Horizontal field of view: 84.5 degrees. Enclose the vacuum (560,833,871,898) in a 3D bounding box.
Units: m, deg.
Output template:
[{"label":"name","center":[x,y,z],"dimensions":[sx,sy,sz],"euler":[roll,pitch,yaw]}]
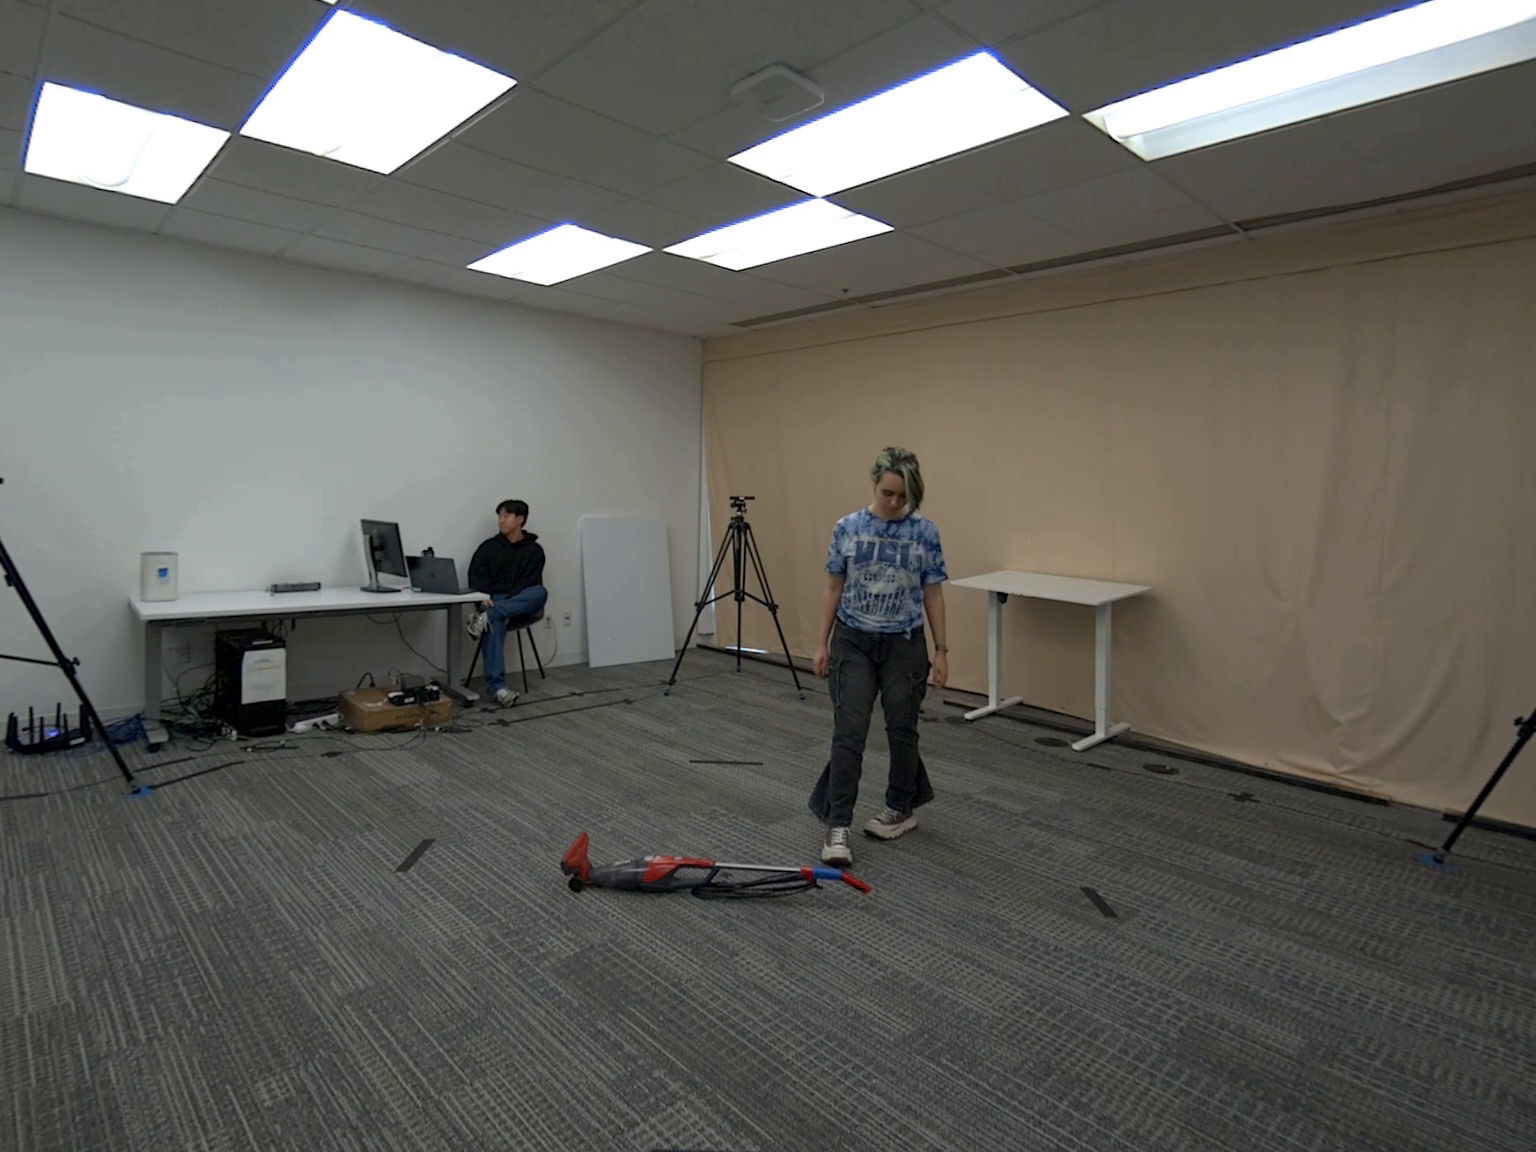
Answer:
[{"label":"vacuum","center":[-0.178,1.052,2.943],"dimensions":[1.055,0.143,0.252],"euler":[3,6,6]}]
